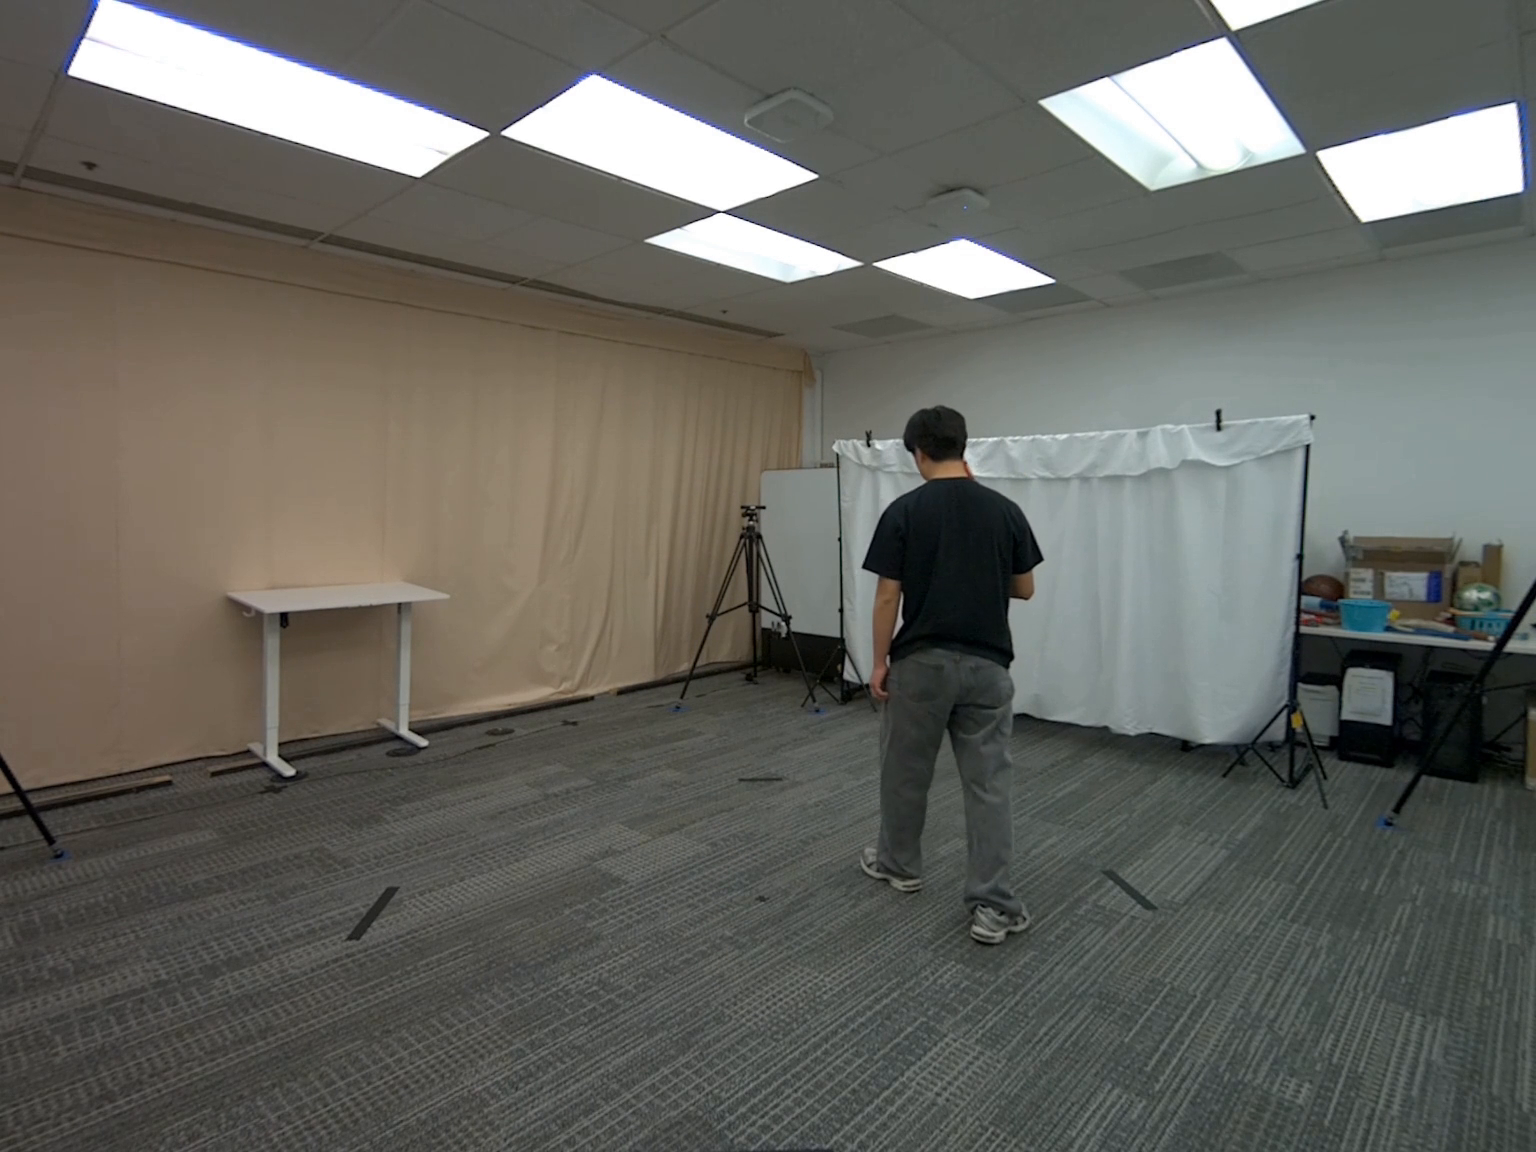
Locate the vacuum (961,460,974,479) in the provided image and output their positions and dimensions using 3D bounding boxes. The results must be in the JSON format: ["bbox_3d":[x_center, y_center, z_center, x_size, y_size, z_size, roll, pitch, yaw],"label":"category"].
[{"bbox_3d":[0.744,0.073,3.223,0.245,1.047,0.148,-6,3,-35],"label":"vacuum"}]
